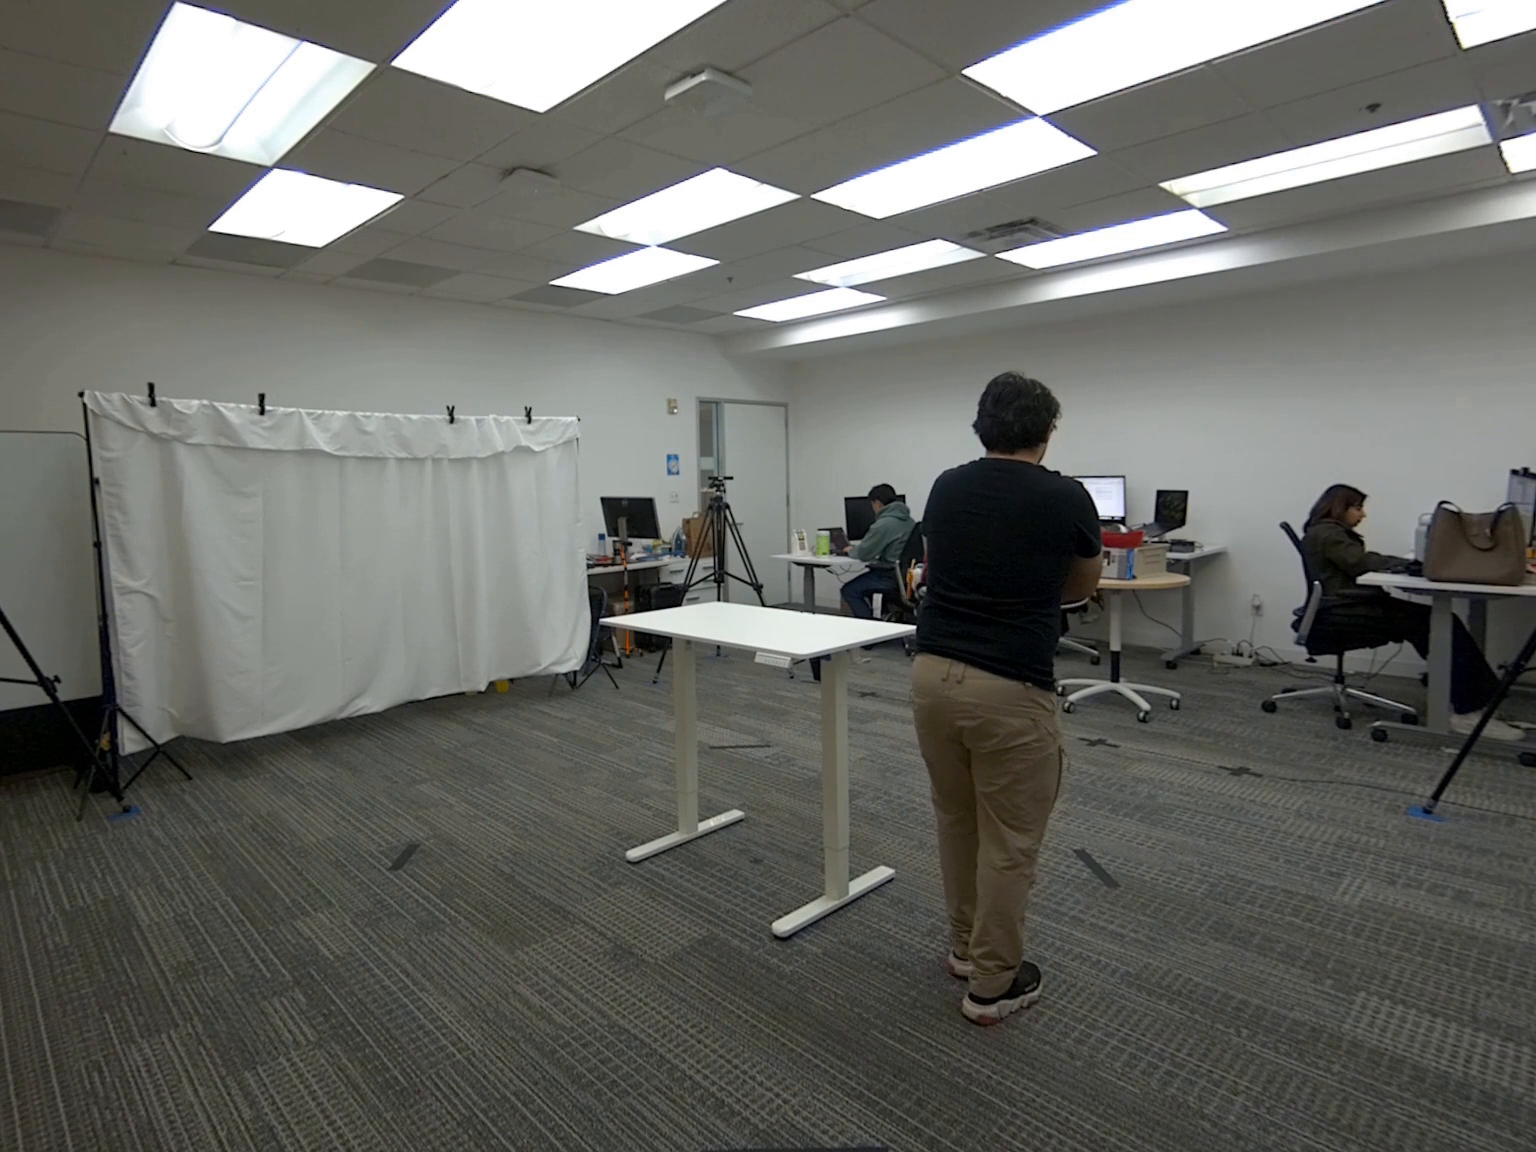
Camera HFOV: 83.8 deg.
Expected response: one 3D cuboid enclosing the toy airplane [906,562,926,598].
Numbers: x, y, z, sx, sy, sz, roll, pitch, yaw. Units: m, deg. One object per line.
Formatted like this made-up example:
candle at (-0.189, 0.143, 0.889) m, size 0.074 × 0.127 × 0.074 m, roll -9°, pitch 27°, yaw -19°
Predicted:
toy airplane at (0.534, 0.050, 2.447) m, size 0.256 × 0.160 × 0.249 m, roll 17°, pitch -40°, yaw -11°
